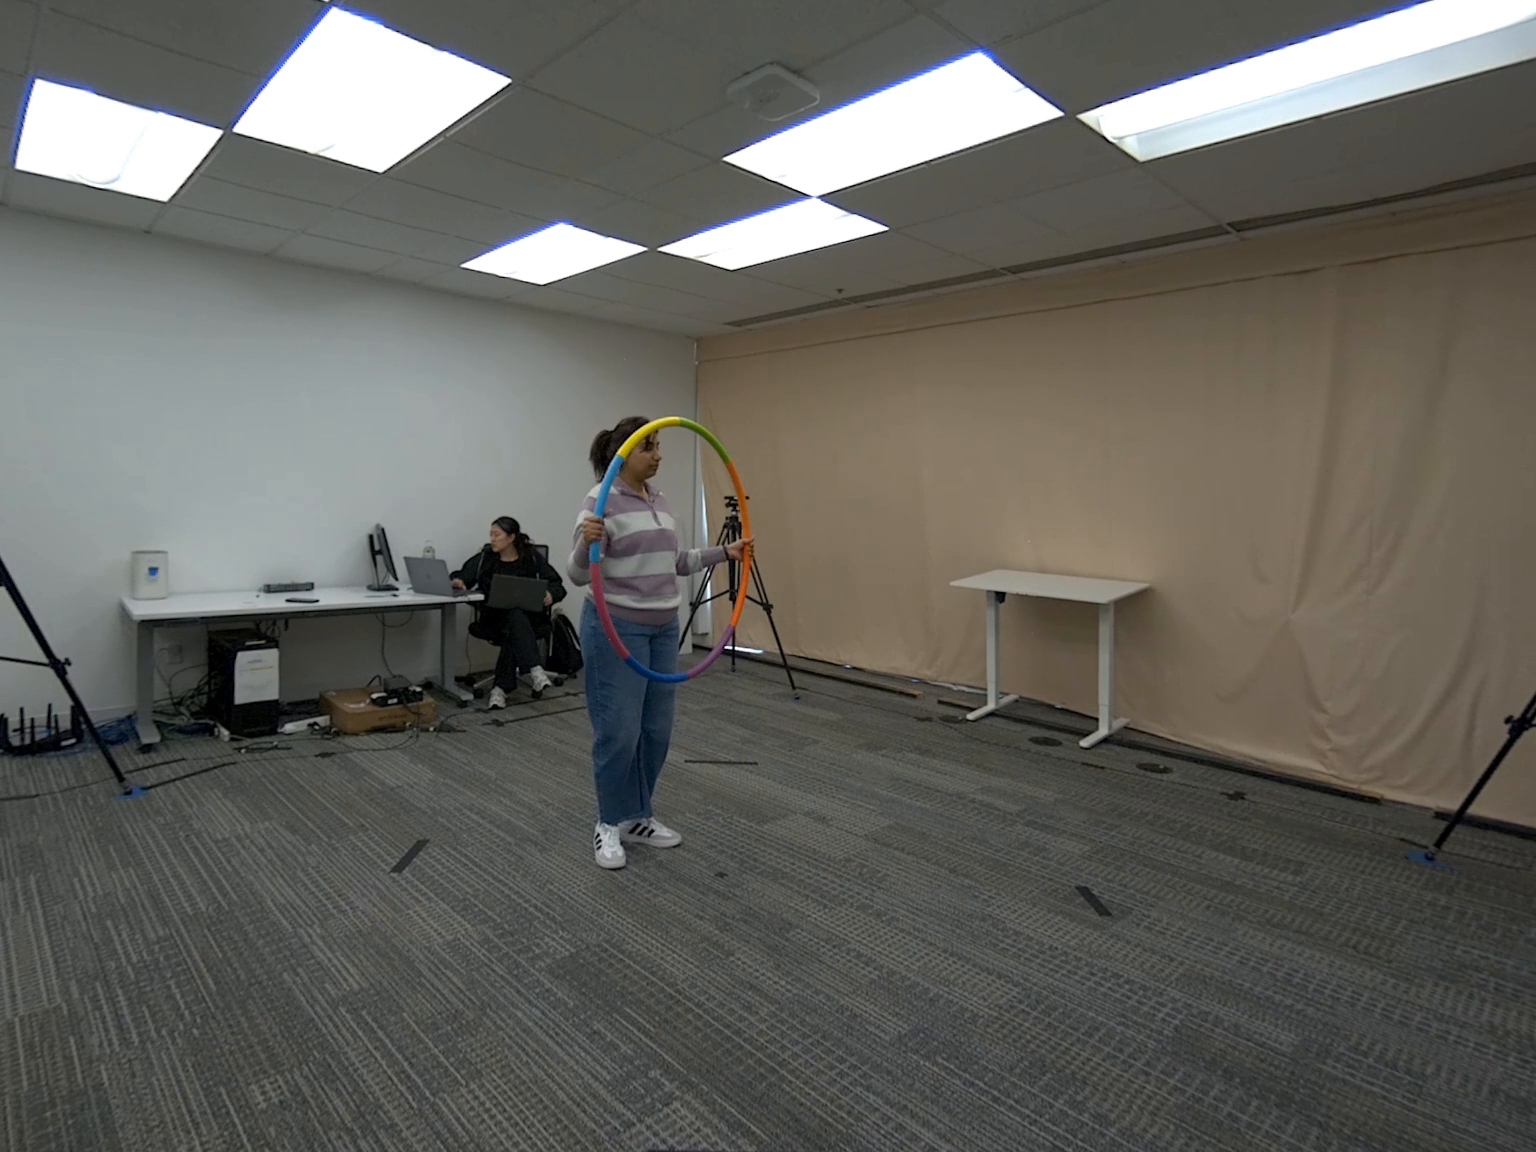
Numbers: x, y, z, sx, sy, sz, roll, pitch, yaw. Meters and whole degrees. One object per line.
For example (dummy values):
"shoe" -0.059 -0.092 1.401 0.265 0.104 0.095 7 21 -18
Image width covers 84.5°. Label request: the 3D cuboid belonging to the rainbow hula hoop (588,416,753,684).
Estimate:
"rainbow hula hoop" -0.336 -0.097 3.153 0.036 0.976 0.960 2 4 30
